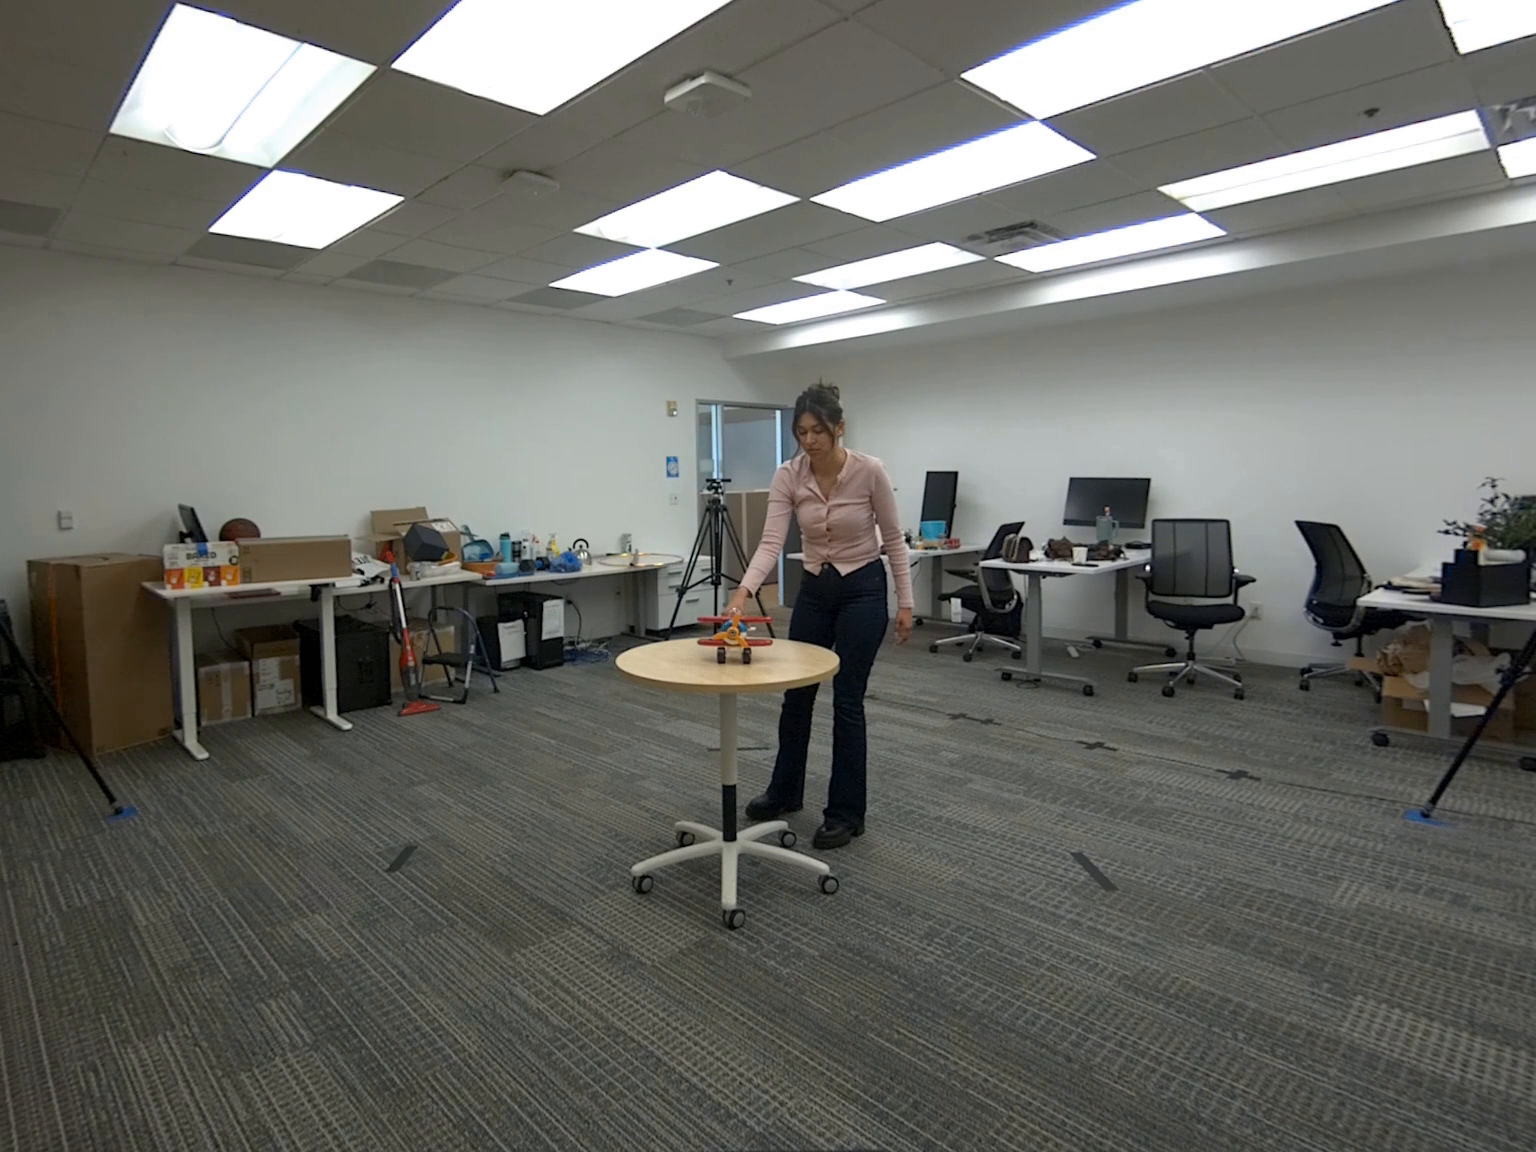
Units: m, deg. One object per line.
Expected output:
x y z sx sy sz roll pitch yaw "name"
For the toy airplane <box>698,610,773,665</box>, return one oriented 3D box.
-0.130 0.195 2.922 0.246 0.154 0.267 -8 16 -25 "toy airplane"
